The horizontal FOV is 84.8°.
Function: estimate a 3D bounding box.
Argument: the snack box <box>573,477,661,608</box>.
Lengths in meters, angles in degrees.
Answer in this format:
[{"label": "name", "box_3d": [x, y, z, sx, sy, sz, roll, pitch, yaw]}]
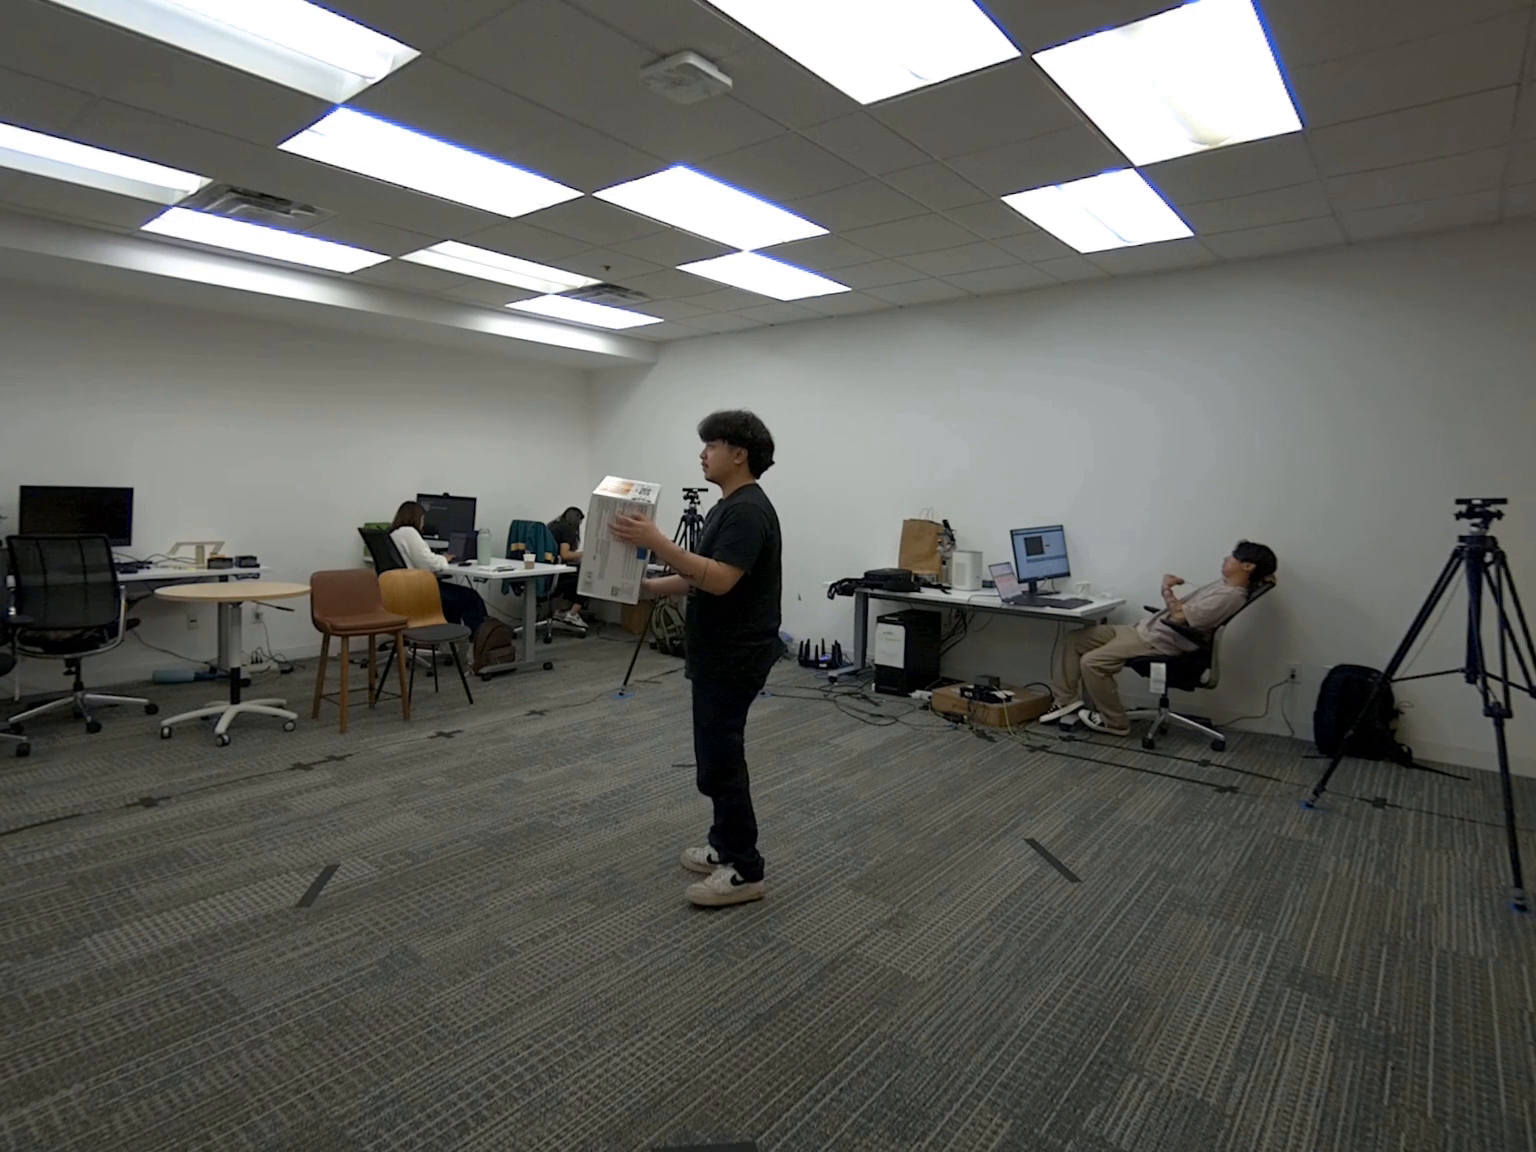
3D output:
[{"label": "snack box", "box_3d": [-0.517, -0.131, 2.914, 0.205, 0.337, 0.410, 9, 13, -4]}]
